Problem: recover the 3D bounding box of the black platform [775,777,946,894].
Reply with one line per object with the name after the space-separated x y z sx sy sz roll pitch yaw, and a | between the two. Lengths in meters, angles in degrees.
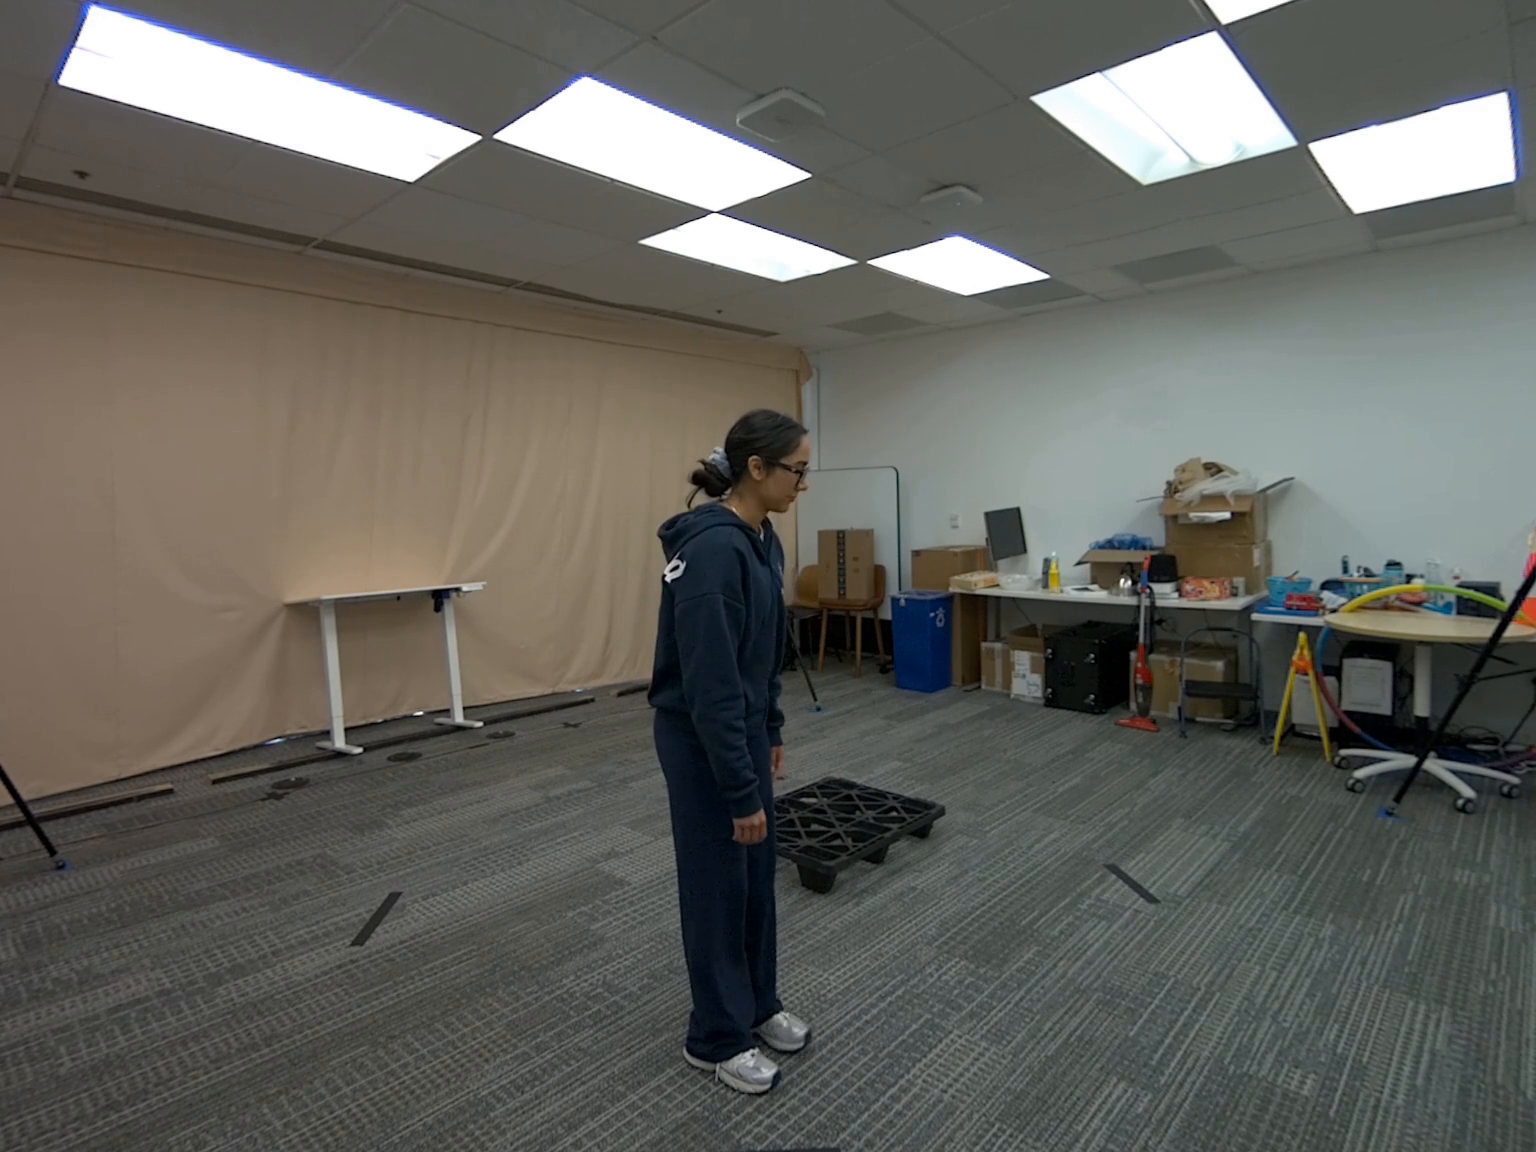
0.255 1.034 3.413 0.625 0.143 0.781 2 5 43 | black platform
